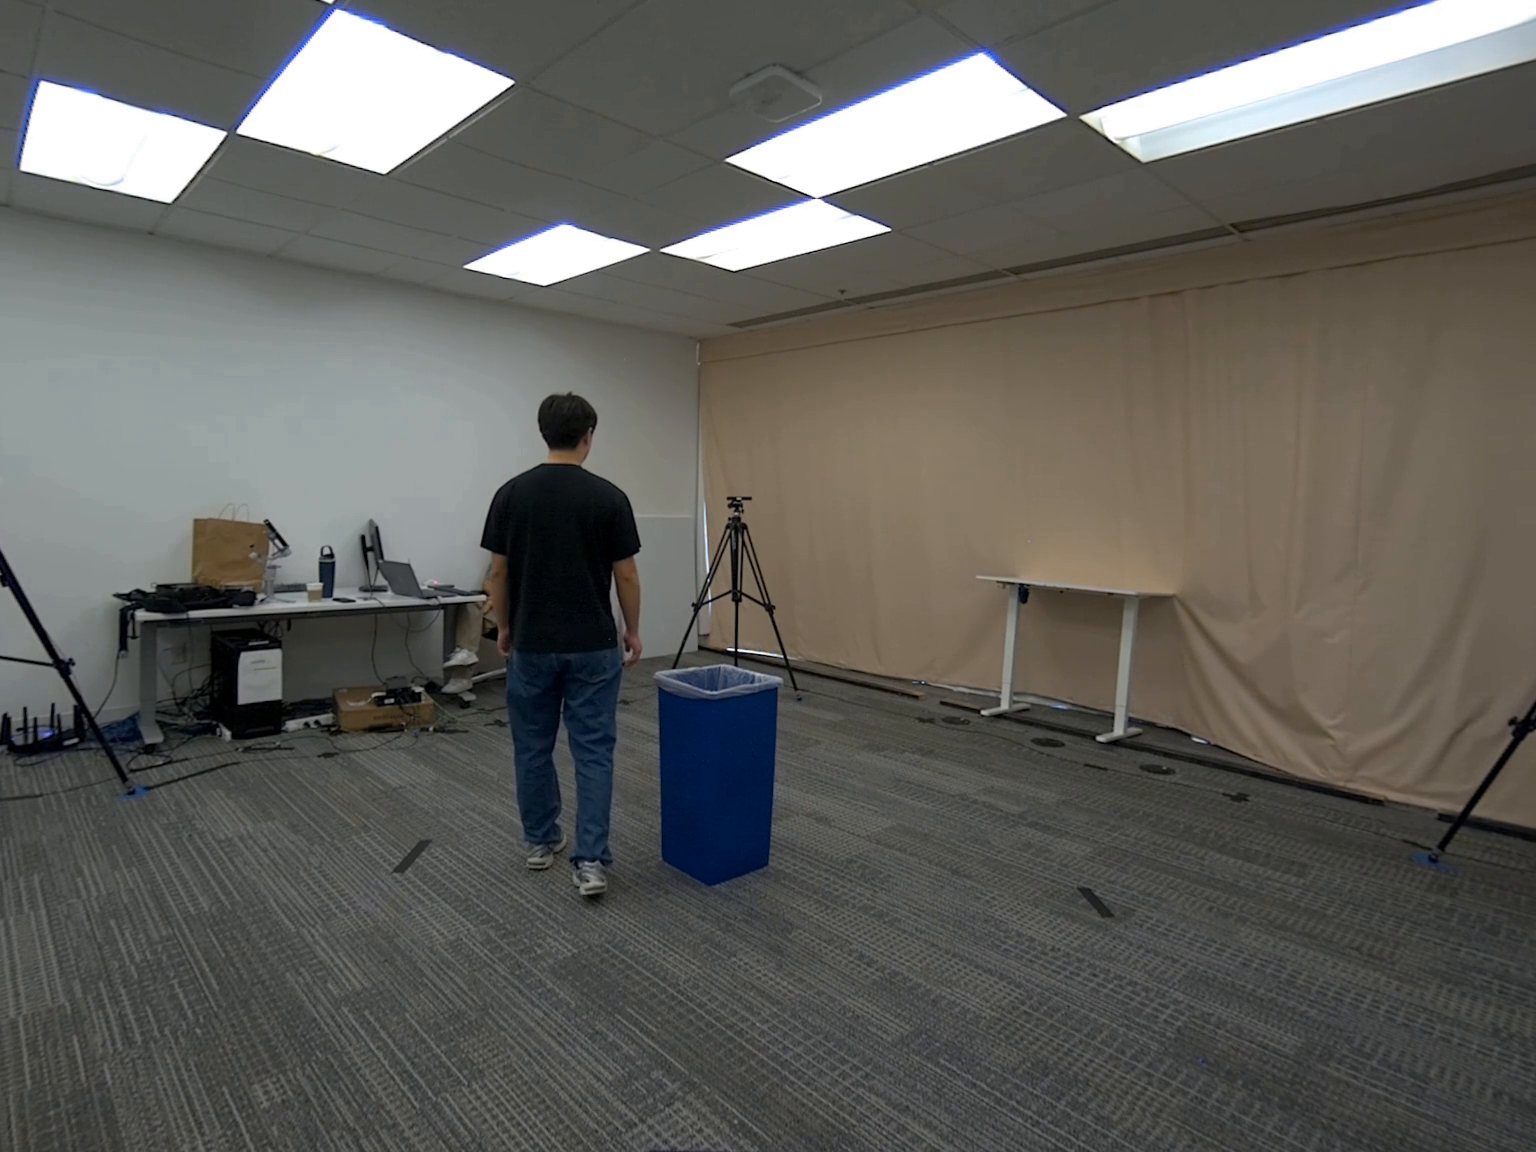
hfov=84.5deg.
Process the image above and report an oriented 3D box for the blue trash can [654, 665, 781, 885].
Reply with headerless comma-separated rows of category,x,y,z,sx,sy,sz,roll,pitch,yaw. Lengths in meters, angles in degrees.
blue trash can,-0.201,0.738,3.196,0.365,0.712,0.388,-1,4,-43
